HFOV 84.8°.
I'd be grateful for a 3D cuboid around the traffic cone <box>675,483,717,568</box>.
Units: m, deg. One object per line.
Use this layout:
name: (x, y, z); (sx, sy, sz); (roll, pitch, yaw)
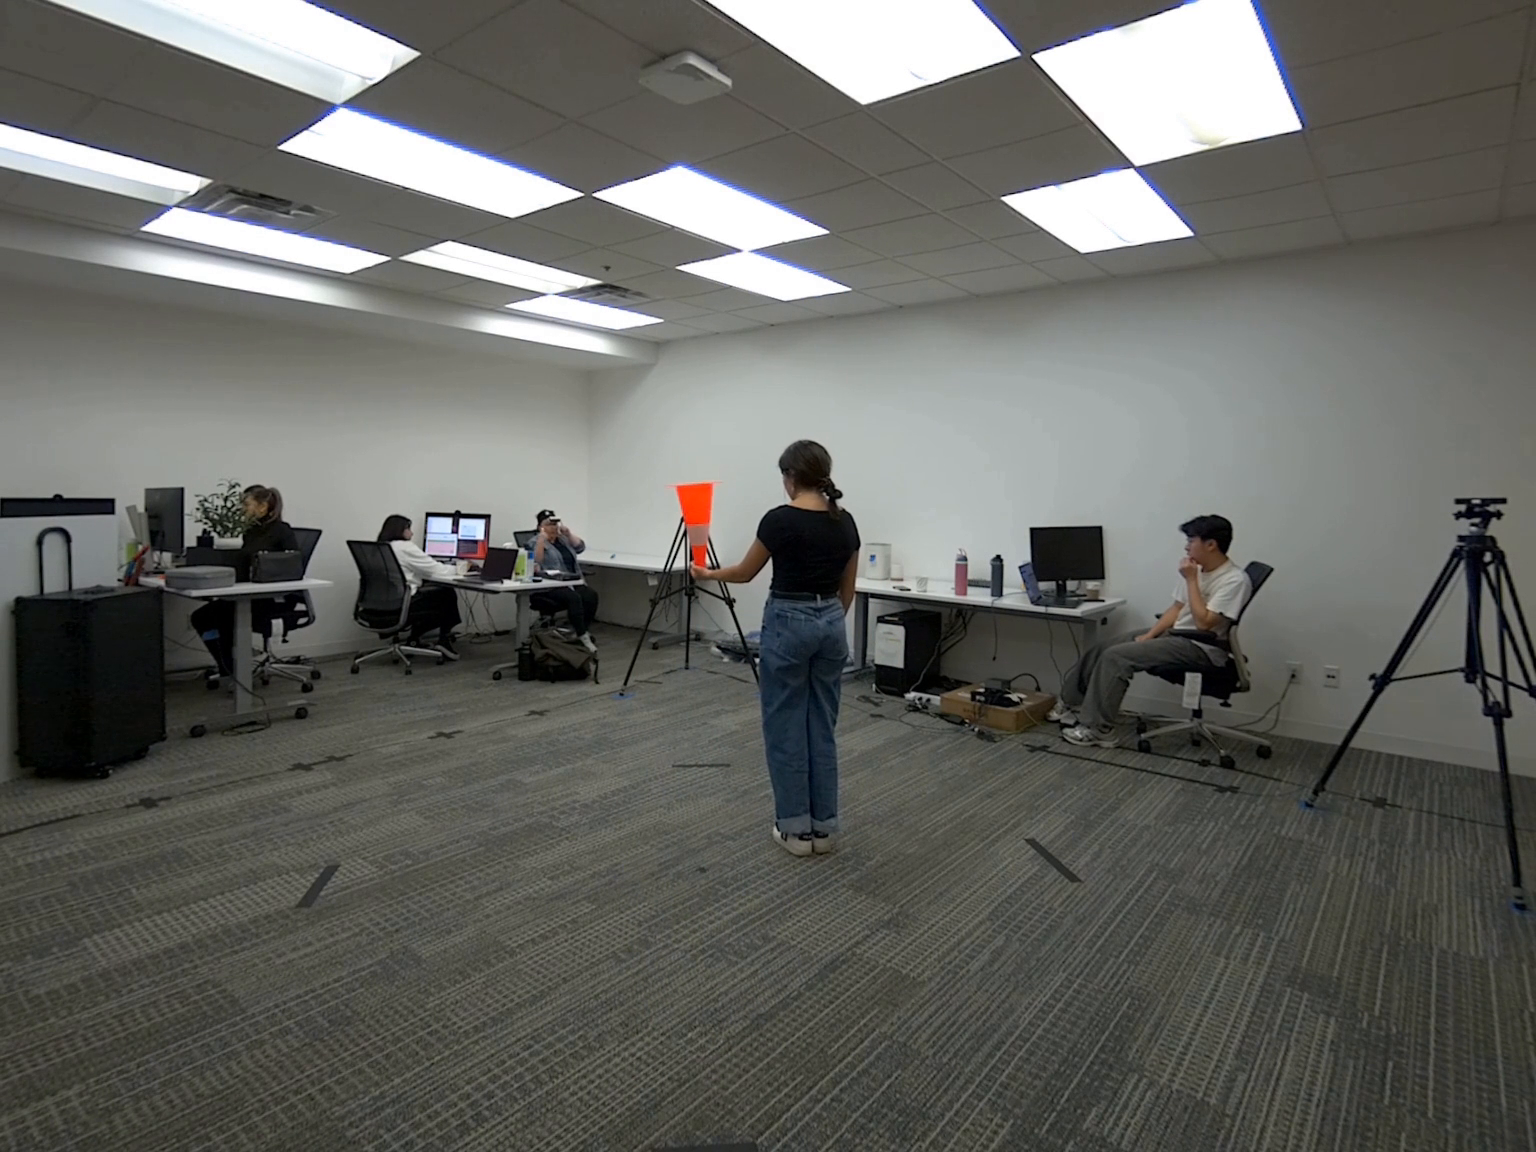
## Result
traffic cone: (-0.304, -0.204, 3.603); (0.206, 0.381, 0.204); (-1, 8, 12)
